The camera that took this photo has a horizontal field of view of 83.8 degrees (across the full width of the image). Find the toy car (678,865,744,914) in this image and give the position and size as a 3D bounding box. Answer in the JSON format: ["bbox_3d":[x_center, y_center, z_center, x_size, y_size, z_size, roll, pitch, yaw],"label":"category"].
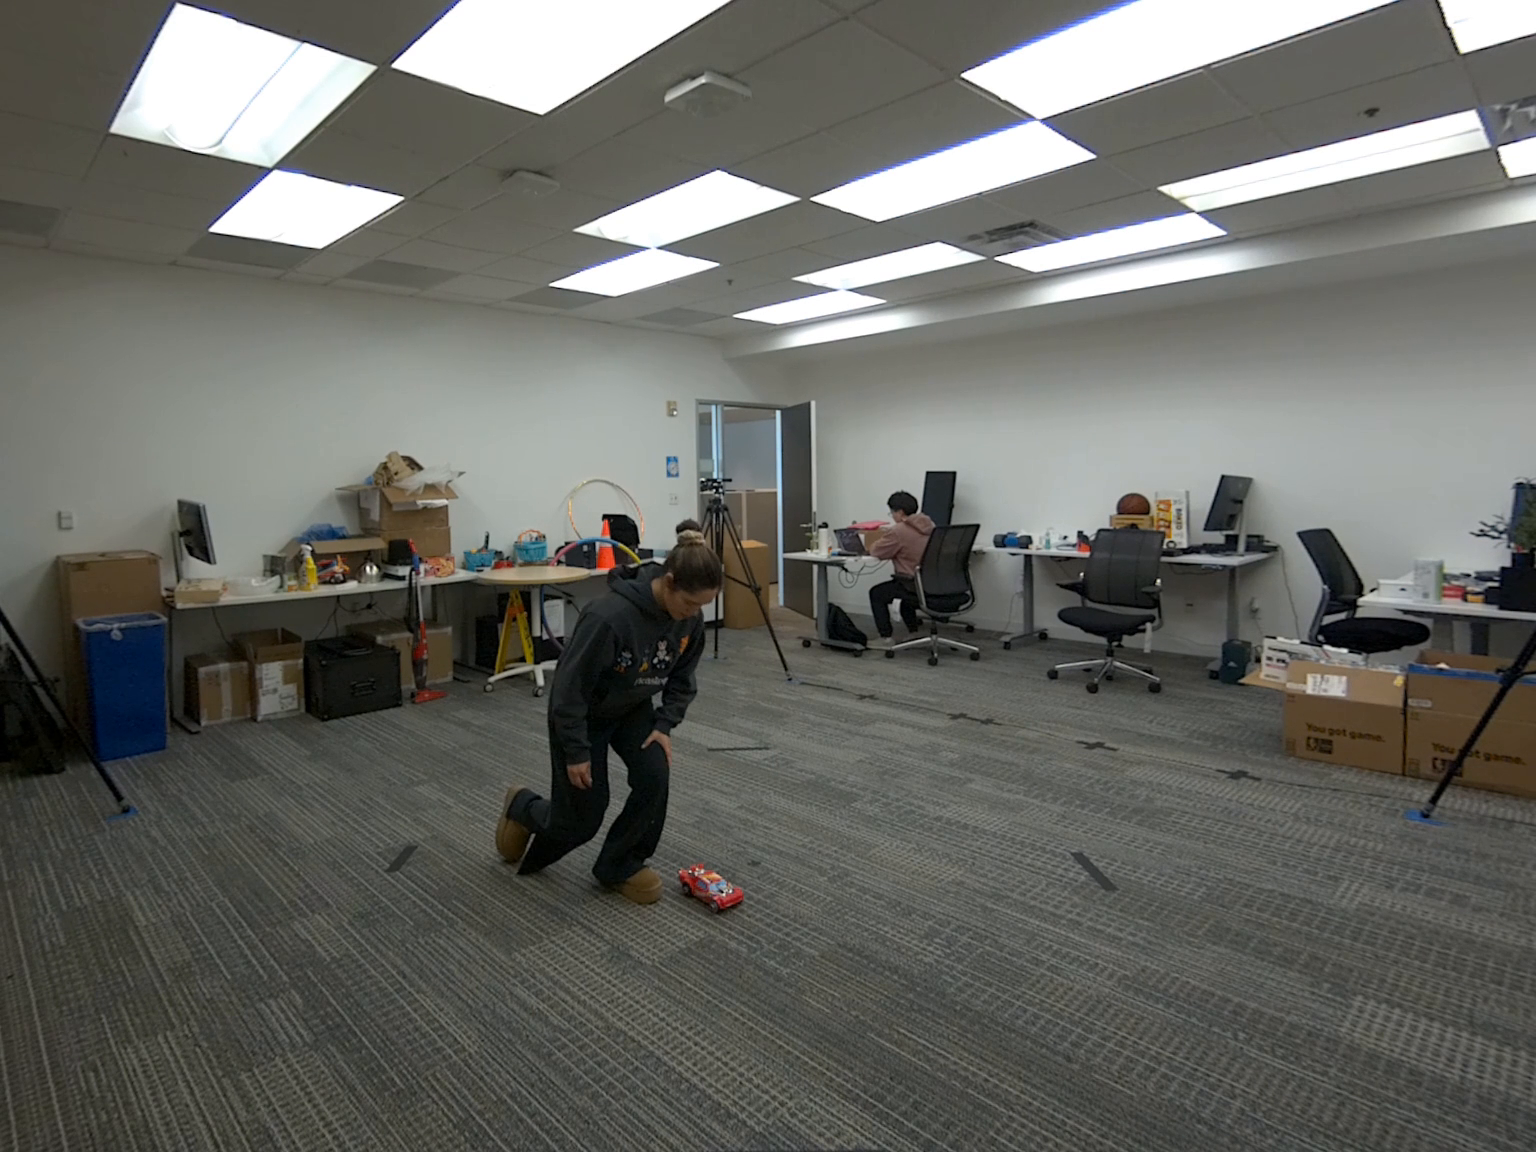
[{"bbox_3d":[-0.200,1.045,2.839,0.127,0.082,0.264,-6,19,-40],"label":"toy car"}]
